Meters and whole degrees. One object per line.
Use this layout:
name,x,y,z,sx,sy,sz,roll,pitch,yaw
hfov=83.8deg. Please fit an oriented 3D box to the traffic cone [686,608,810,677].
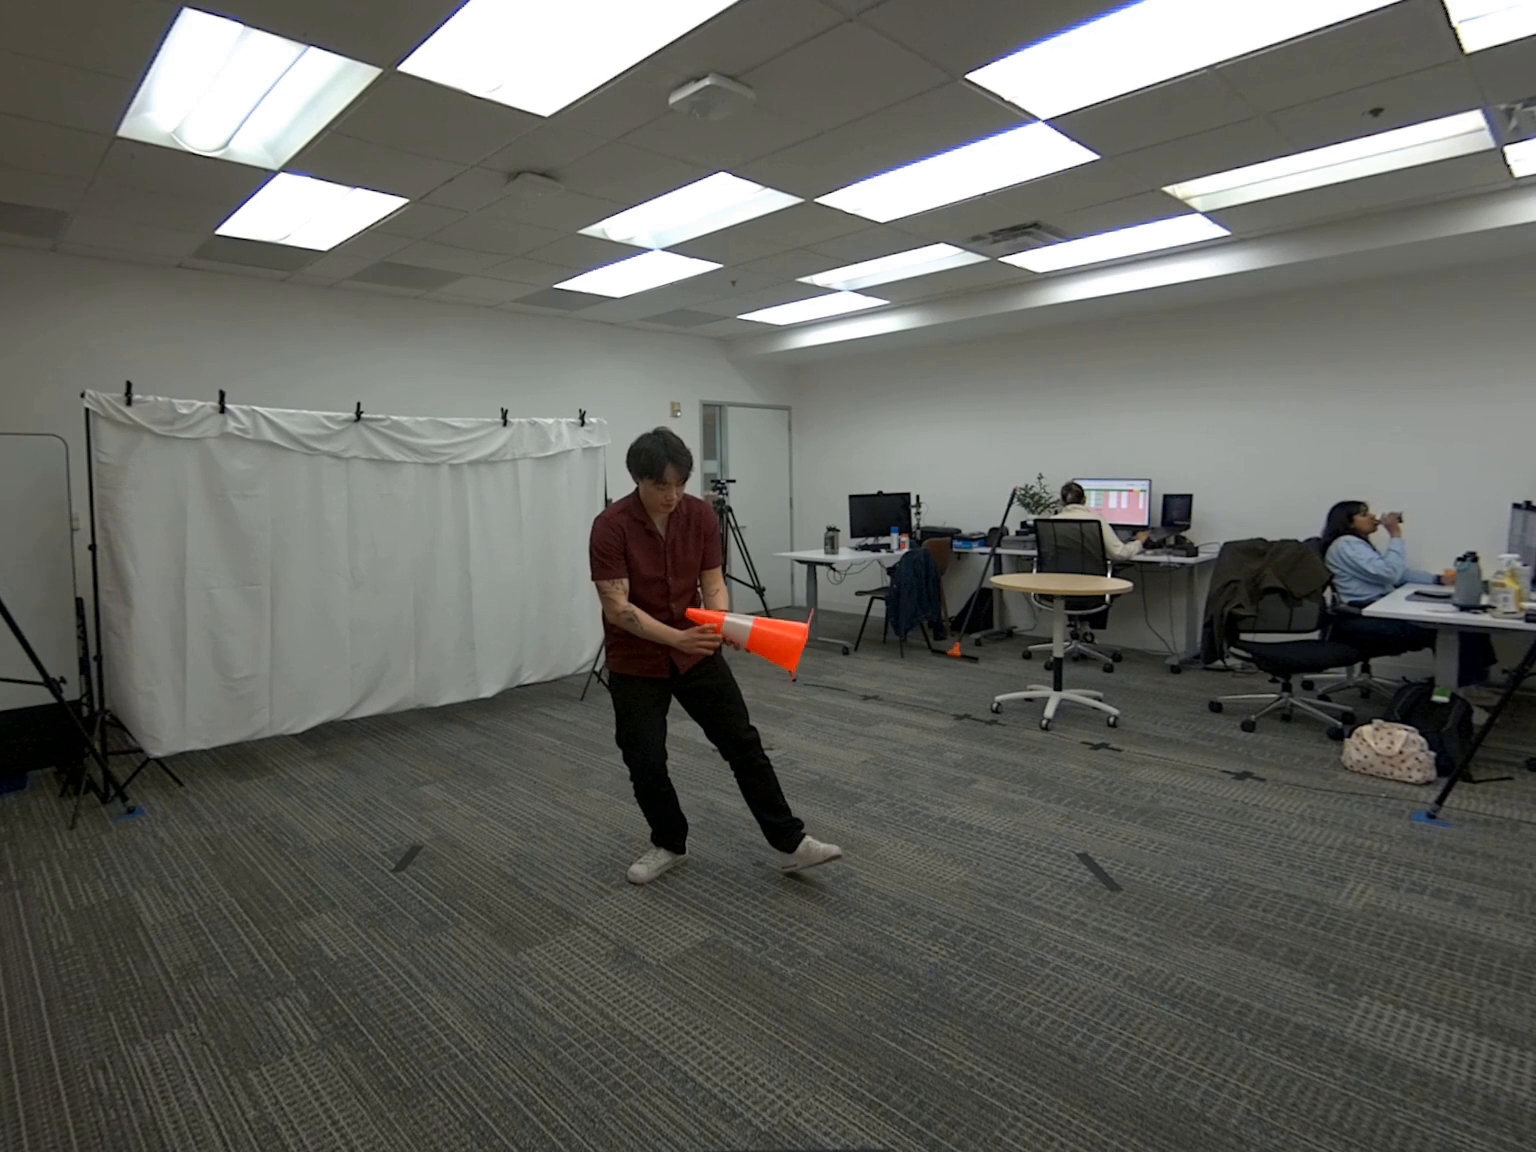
traffic cone,-0.075,0.170,2.698,0.386,0.202,0.205,16,28,4
